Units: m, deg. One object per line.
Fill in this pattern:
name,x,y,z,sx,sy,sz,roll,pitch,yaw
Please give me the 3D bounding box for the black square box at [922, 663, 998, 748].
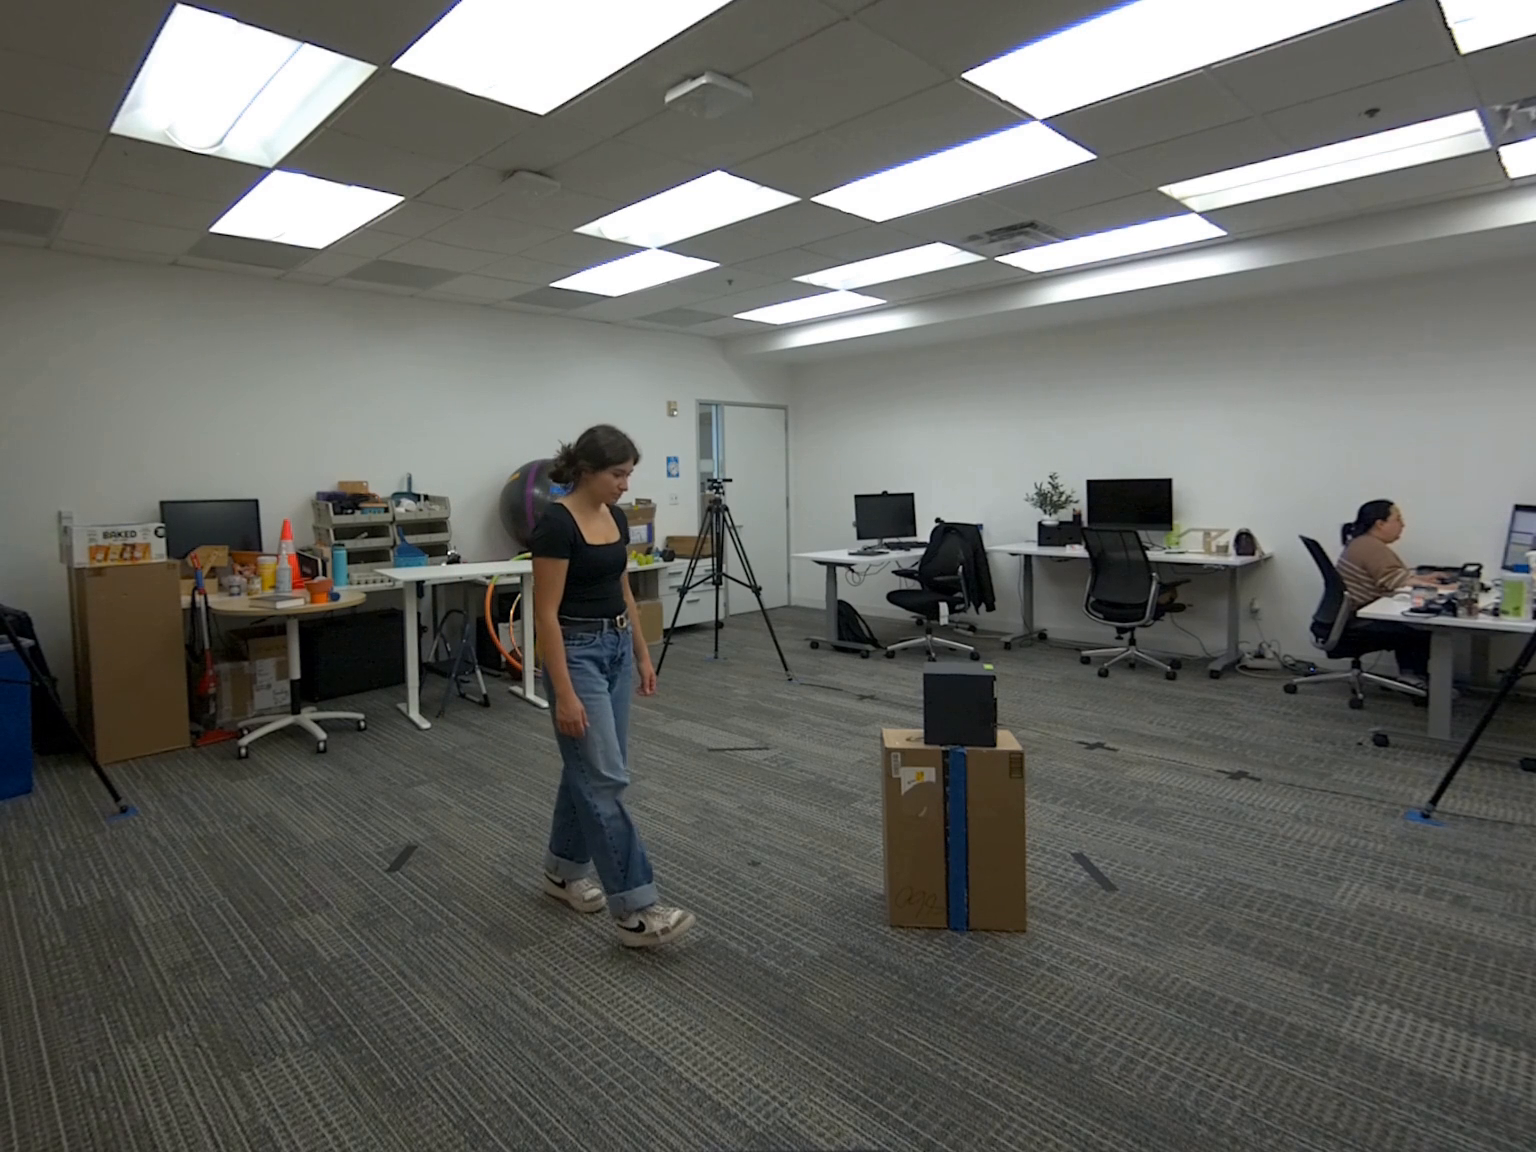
black square box,0.601,0.394,2.691,0.220,0.227,0.154,1,4,12
